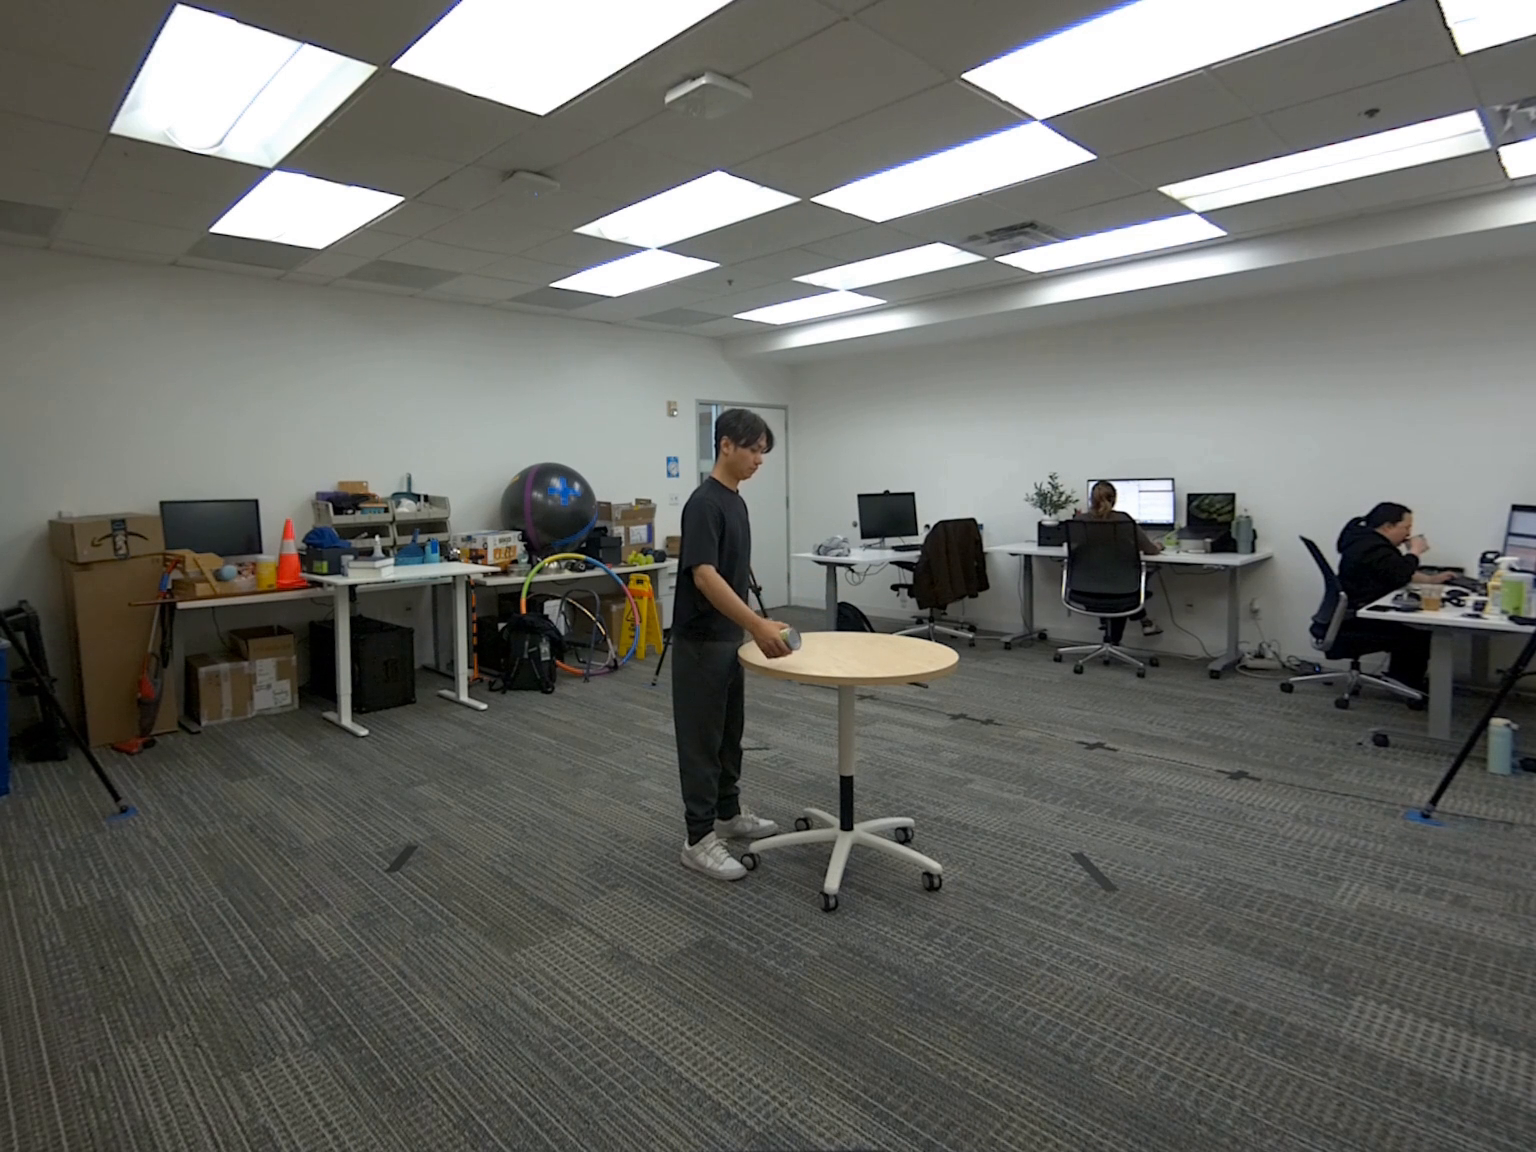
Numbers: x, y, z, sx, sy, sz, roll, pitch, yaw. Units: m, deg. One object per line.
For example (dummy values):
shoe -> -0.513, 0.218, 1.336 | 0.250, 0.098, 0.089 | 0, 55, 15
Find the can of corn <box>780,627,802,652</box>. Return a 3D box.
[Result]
can of corn -> 0.050, 0.209, 2.770 | 0.113, 0.075, 0.072 | -17, -6, 37
